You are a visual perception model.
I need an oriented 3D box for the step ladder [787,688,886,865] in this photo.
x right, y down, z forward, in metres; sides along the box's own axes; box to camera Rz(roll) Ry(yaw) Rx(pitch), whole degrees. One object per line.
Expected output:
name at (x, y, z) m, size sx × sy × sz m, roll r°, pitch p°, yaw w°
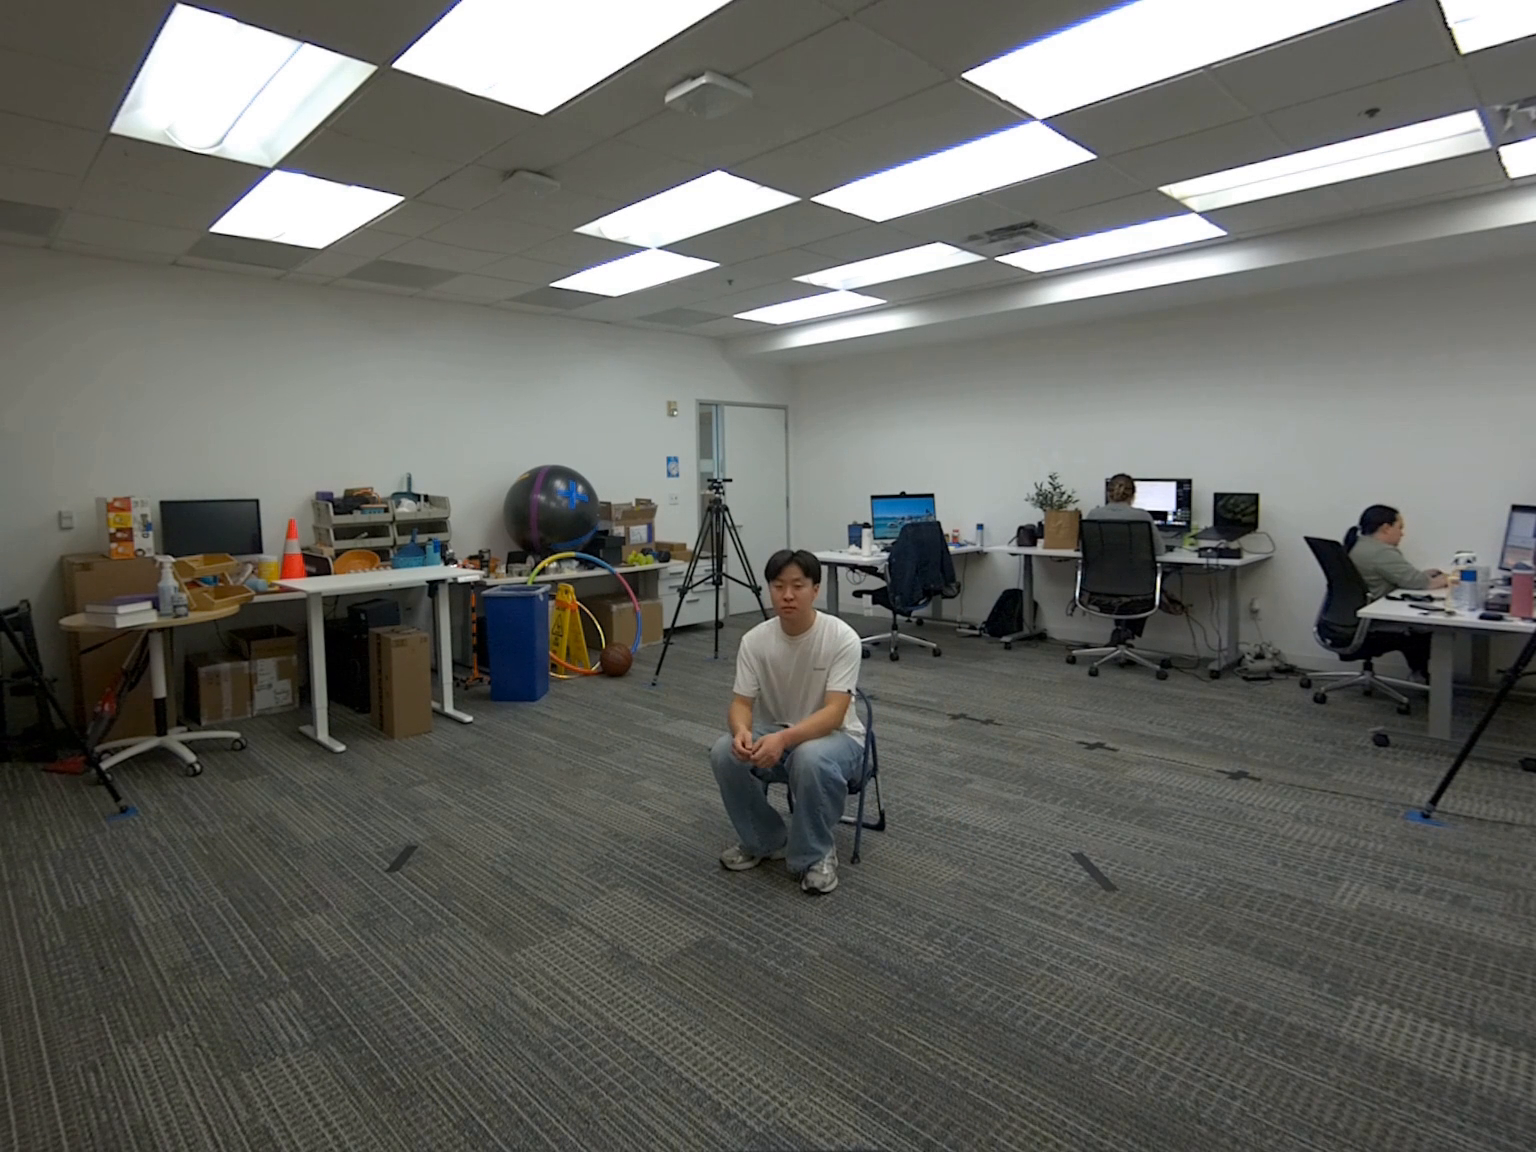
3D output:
step ladder at (0.214, 0.717, 3.327) m, size 0.442 × 0.604 × 0.342 m, roll 2°, pitch 5°, yaw 28°
